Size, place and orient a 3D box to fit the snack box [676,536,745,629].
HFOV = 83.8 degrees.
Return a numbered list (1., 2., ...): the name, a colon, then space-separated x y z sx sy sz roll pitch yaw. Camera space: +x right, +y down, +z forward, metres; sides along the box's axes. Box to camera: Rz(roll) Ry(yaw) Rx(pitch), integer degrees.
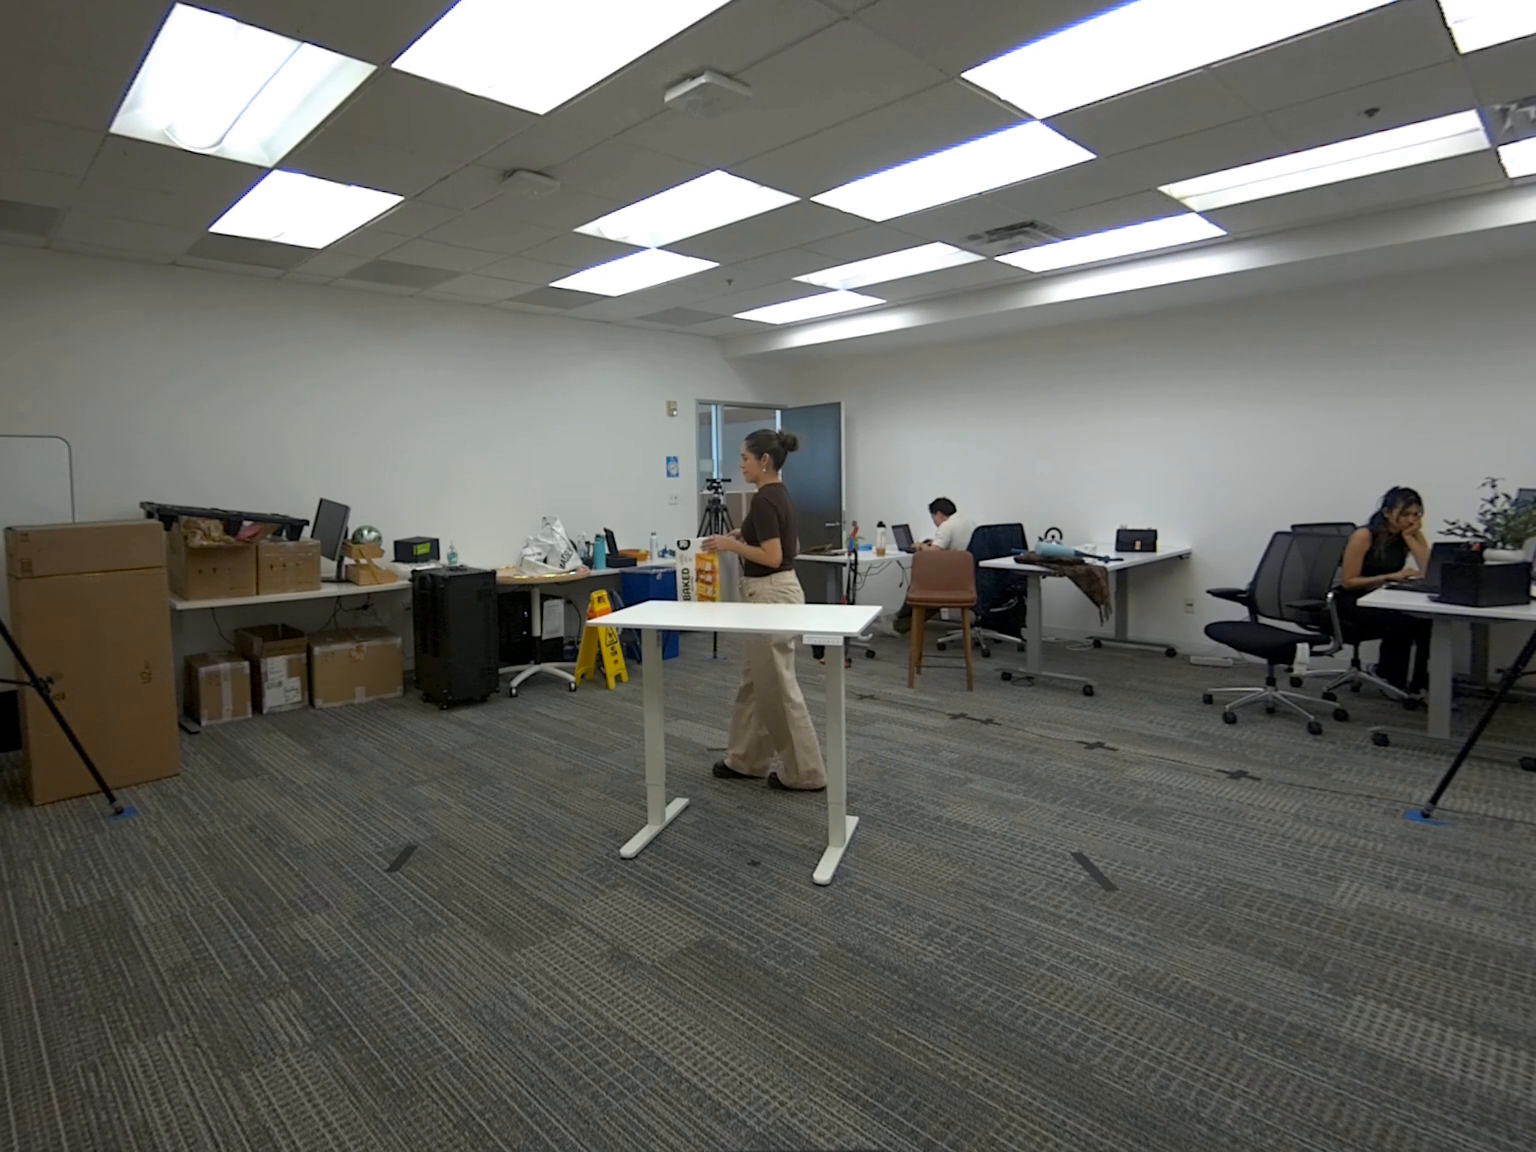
1. snack box: -0.266 0.017 4.003 0.208 0.405 0.336 -2 1 14
